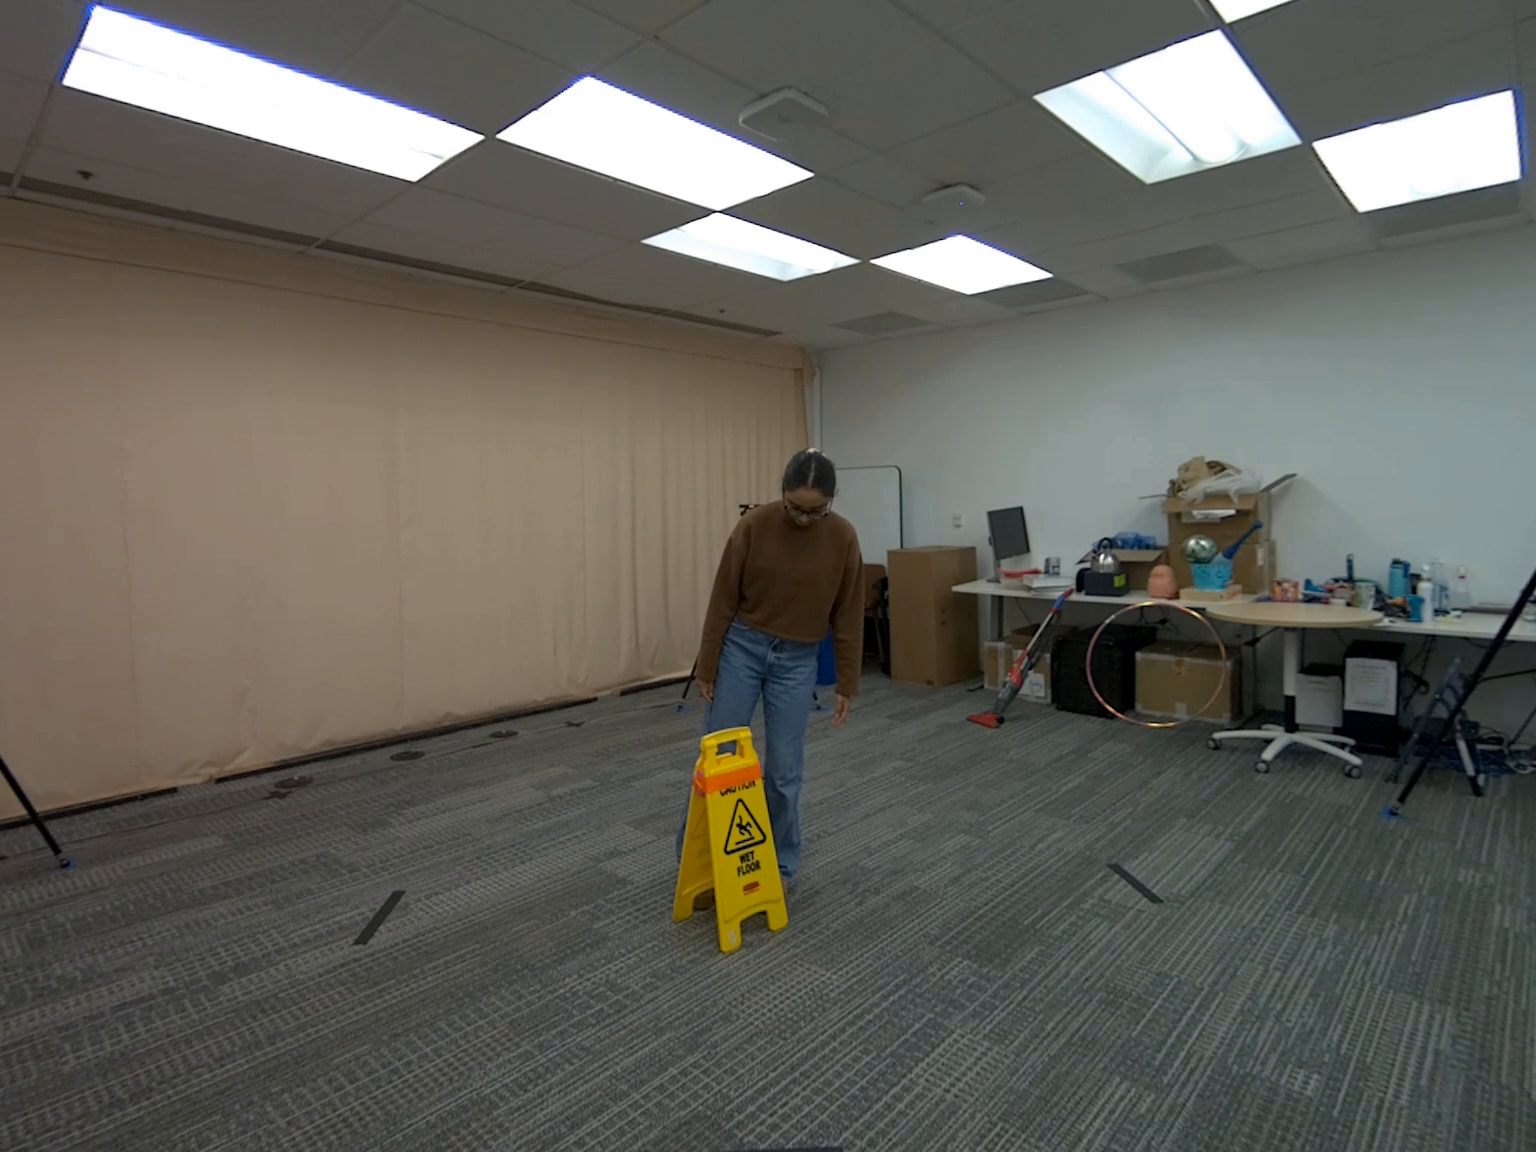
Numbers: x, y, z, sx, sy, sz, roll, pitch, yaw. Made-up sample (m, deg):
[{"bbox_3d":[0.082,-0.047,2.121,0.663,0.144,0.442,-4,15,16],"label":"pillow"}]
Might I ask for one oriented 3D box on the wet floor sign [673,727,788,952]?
[{"bbox_3d":[-0.136,0.836,2.795,0.274,0.645,0.299,-4,3,-41],"label":"wet floor sign"}]
